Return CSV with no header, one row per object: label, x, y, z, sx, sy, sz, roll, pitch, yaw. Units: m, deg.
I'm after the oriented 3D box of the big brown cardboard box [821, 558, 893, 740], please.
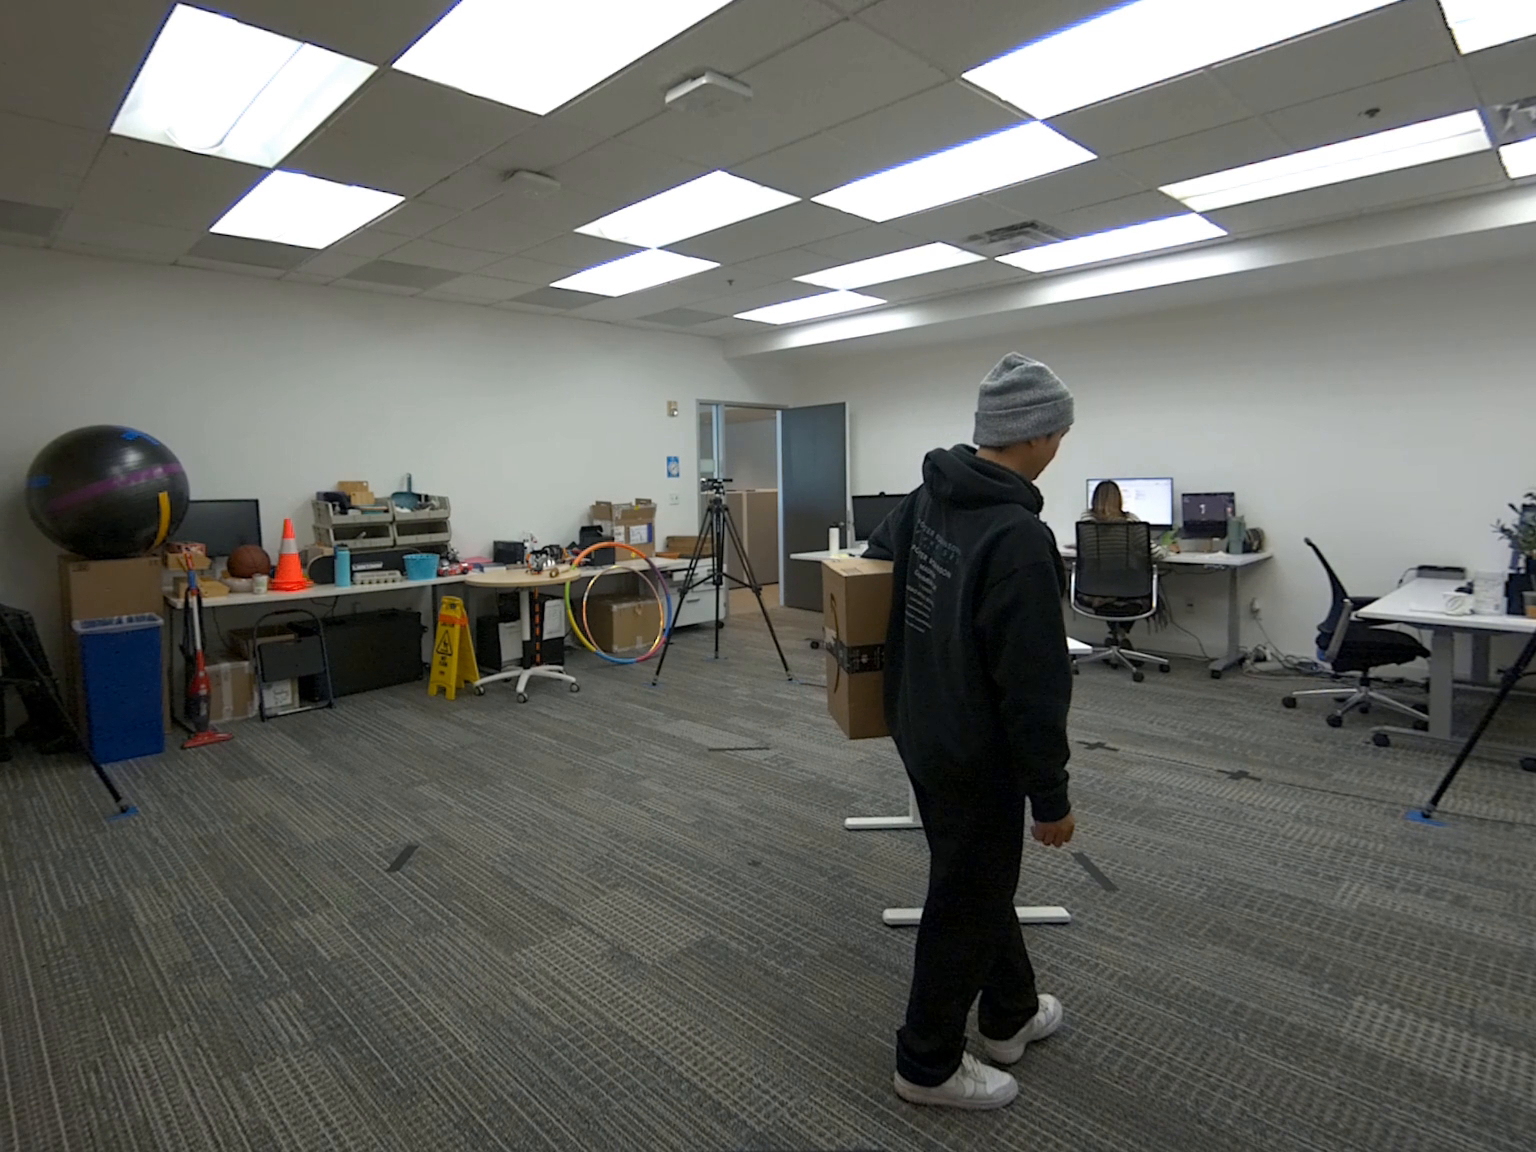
big brown cardboard box,0.456,0.160,2.205,0.585,0.415,0.236,-3,8,-8
